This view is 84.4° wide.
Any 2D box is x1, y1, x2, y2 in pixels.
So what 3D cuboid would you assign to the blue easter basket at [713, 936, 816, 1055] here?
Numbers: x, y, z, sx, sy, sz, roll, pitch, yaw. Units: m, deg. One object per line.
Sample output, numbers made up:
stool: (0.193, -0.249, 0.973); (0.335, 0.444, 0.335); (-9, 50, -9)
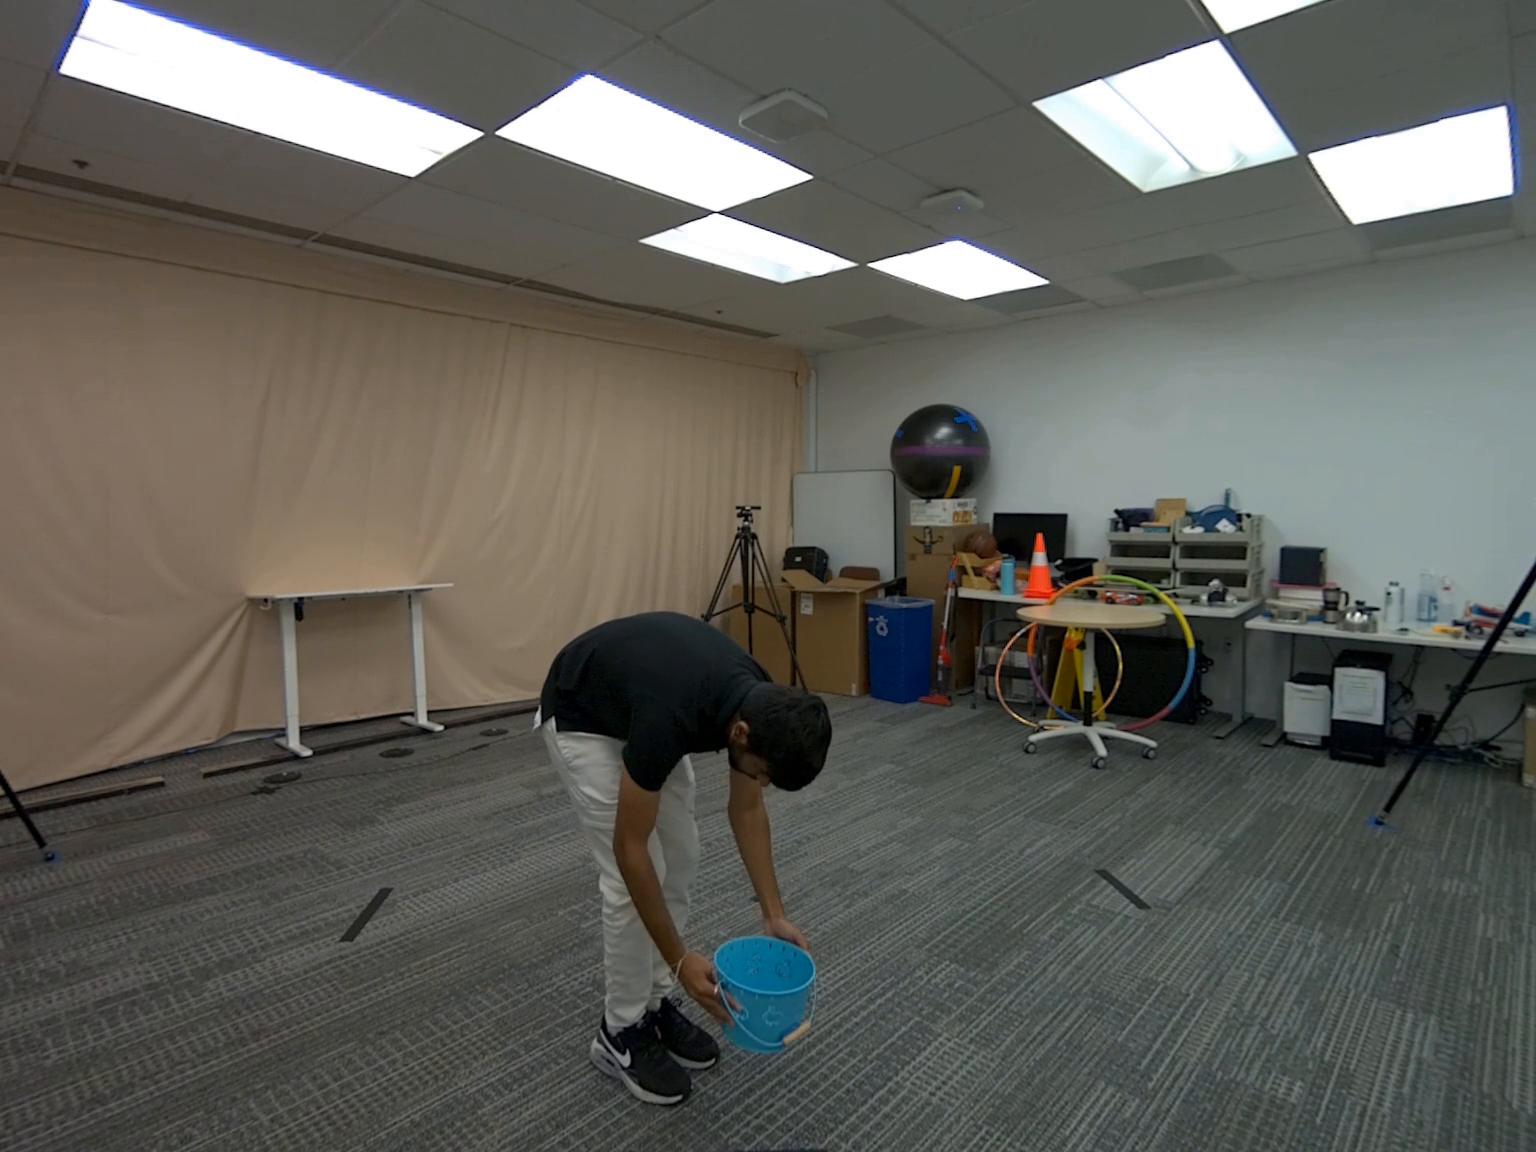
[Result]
blue easter basket: (-0.013, 0.956, 1.899); (0.243, 0.155, 0.245); (4, 6, -2)
